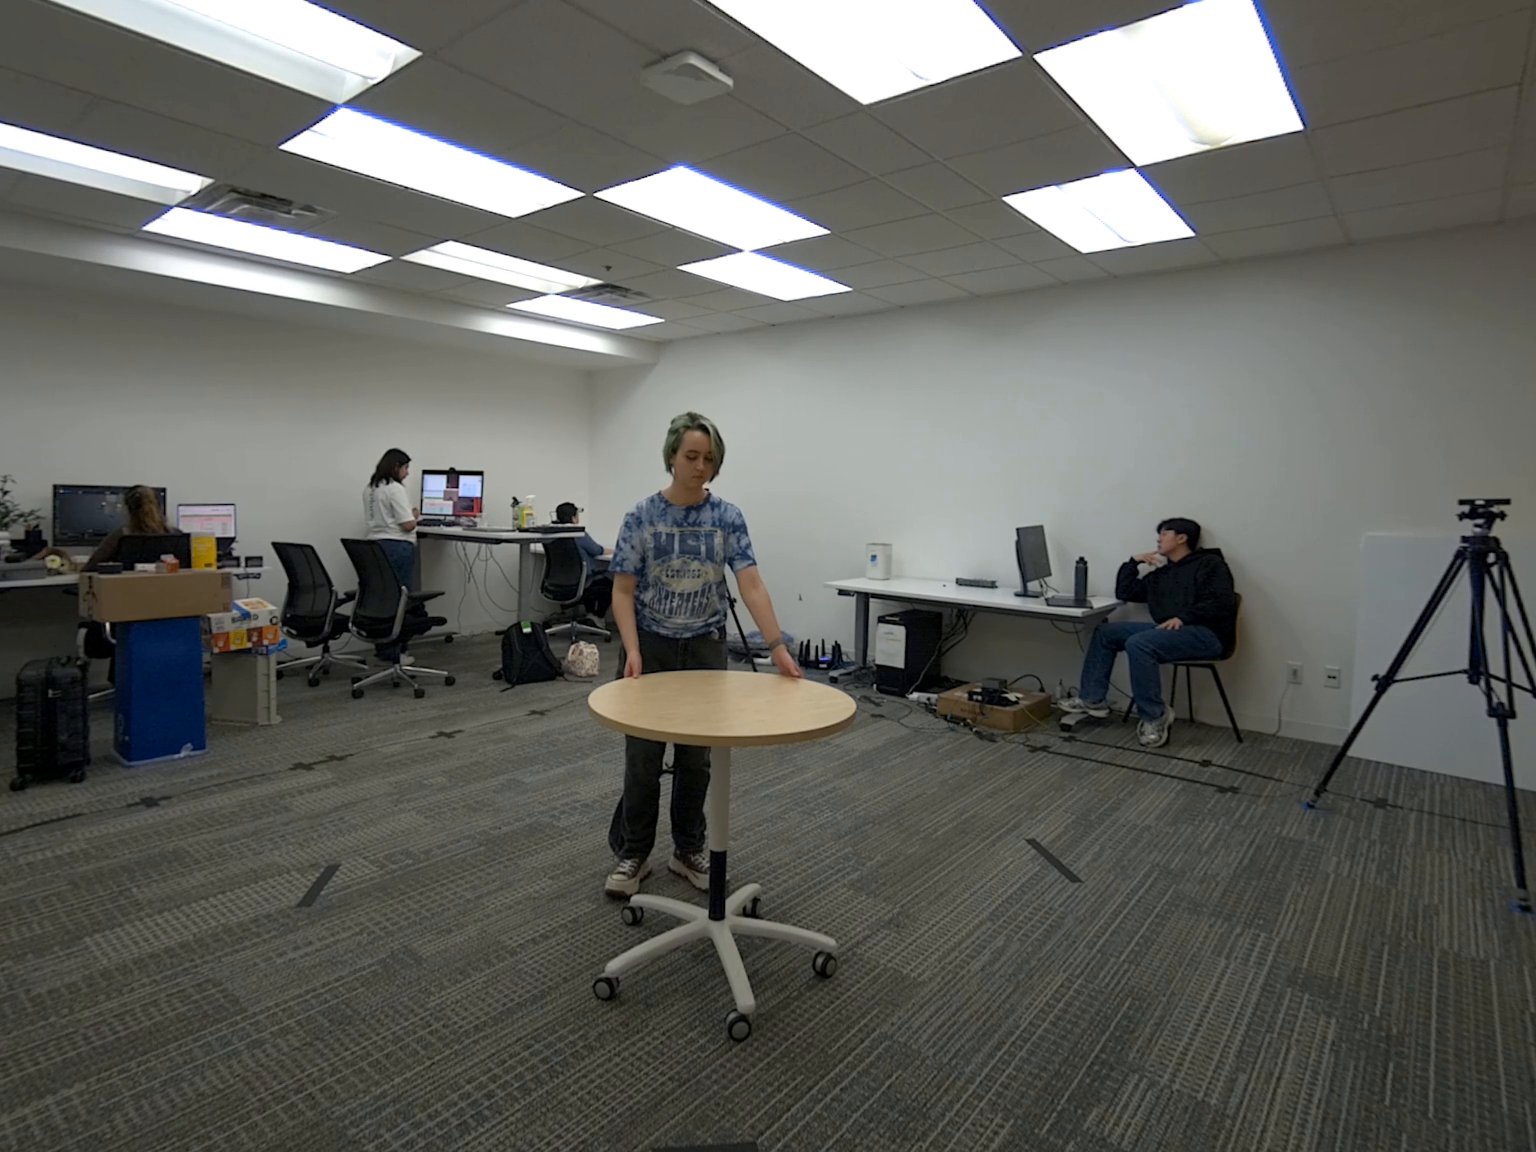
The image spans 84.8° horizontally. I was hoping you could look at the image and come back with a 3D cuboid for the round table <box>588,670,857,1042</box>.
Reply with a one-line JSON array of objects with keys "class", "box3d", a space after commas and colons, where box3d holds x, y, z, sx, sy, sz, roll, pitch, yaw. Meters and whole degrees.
[{"class": "round table", "box3d": [-0.153, 0.743, 2.472, 0.763, 0.791, 0.768, 1, 4, -2]}]
